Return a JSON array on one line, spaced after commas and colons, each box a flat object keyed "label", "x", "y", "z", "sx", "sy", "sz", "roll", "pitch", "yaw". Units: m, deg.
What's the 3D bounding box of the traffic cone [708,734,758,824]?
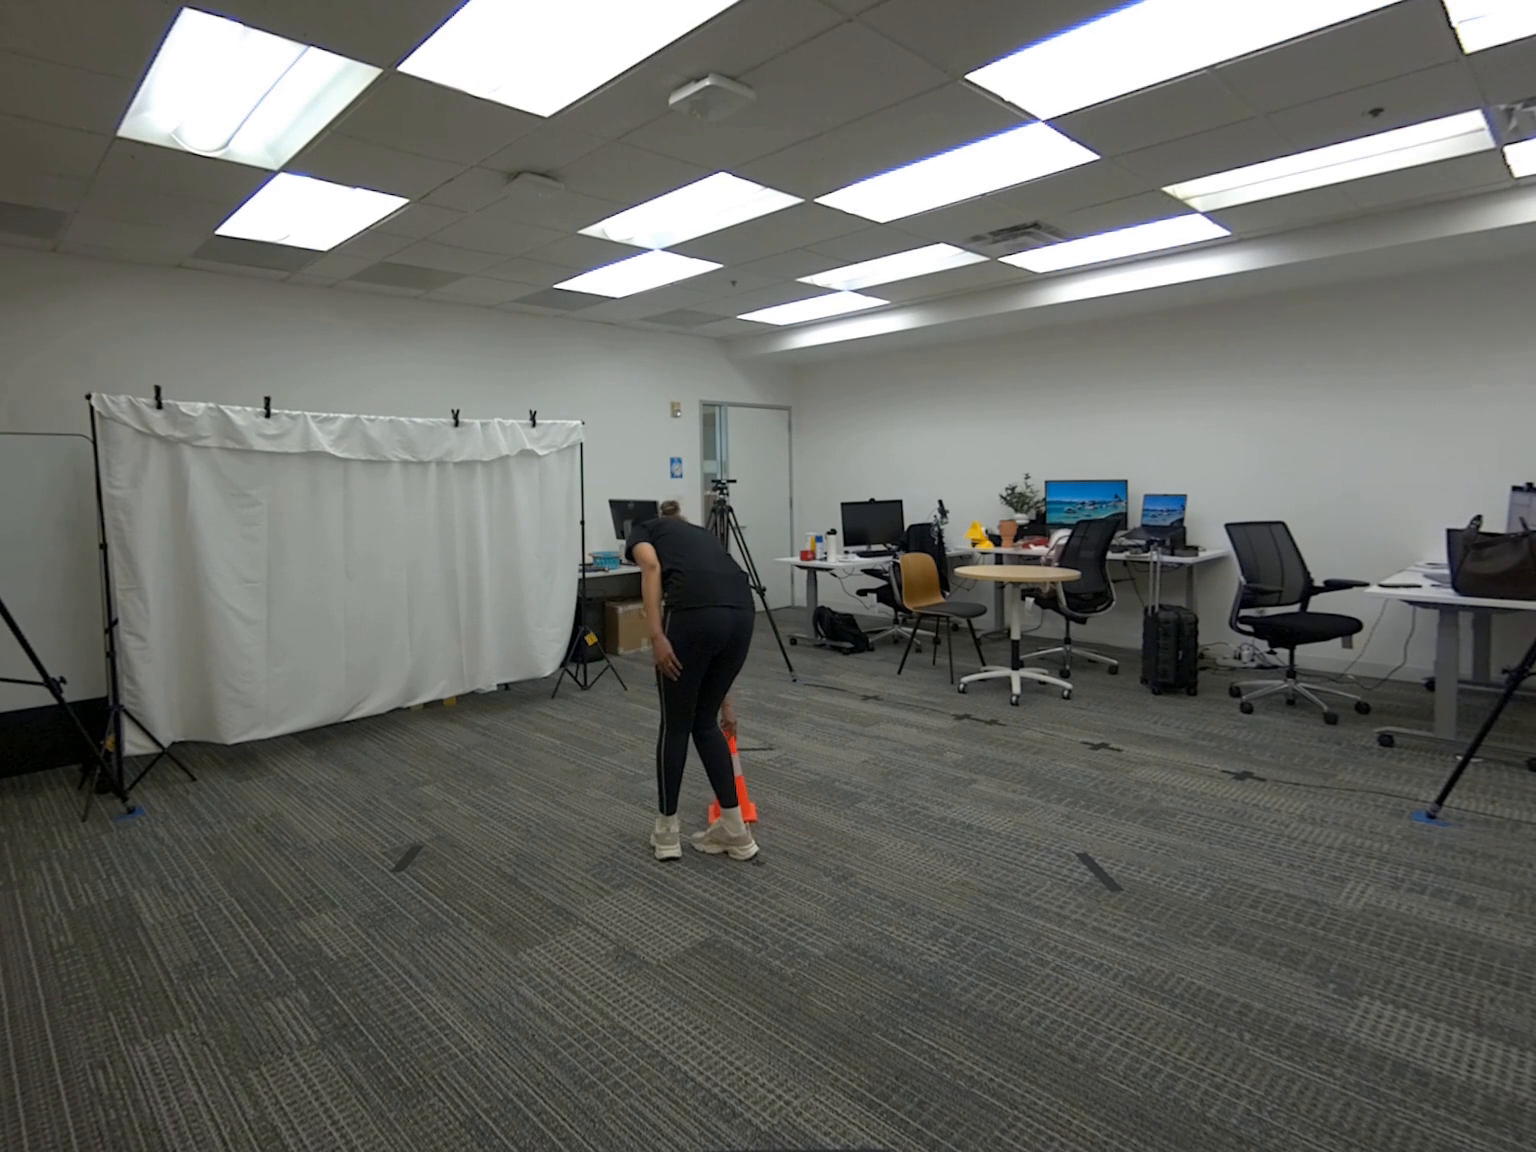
[{"label": "traffic cone", "x": -0.158, "y": 0.810, "z": 3.581, "sx": 0.205, "sy": 0.383, "sz": 0.204, "roll": -5, "pitch": 2, "yaw": -1}]
